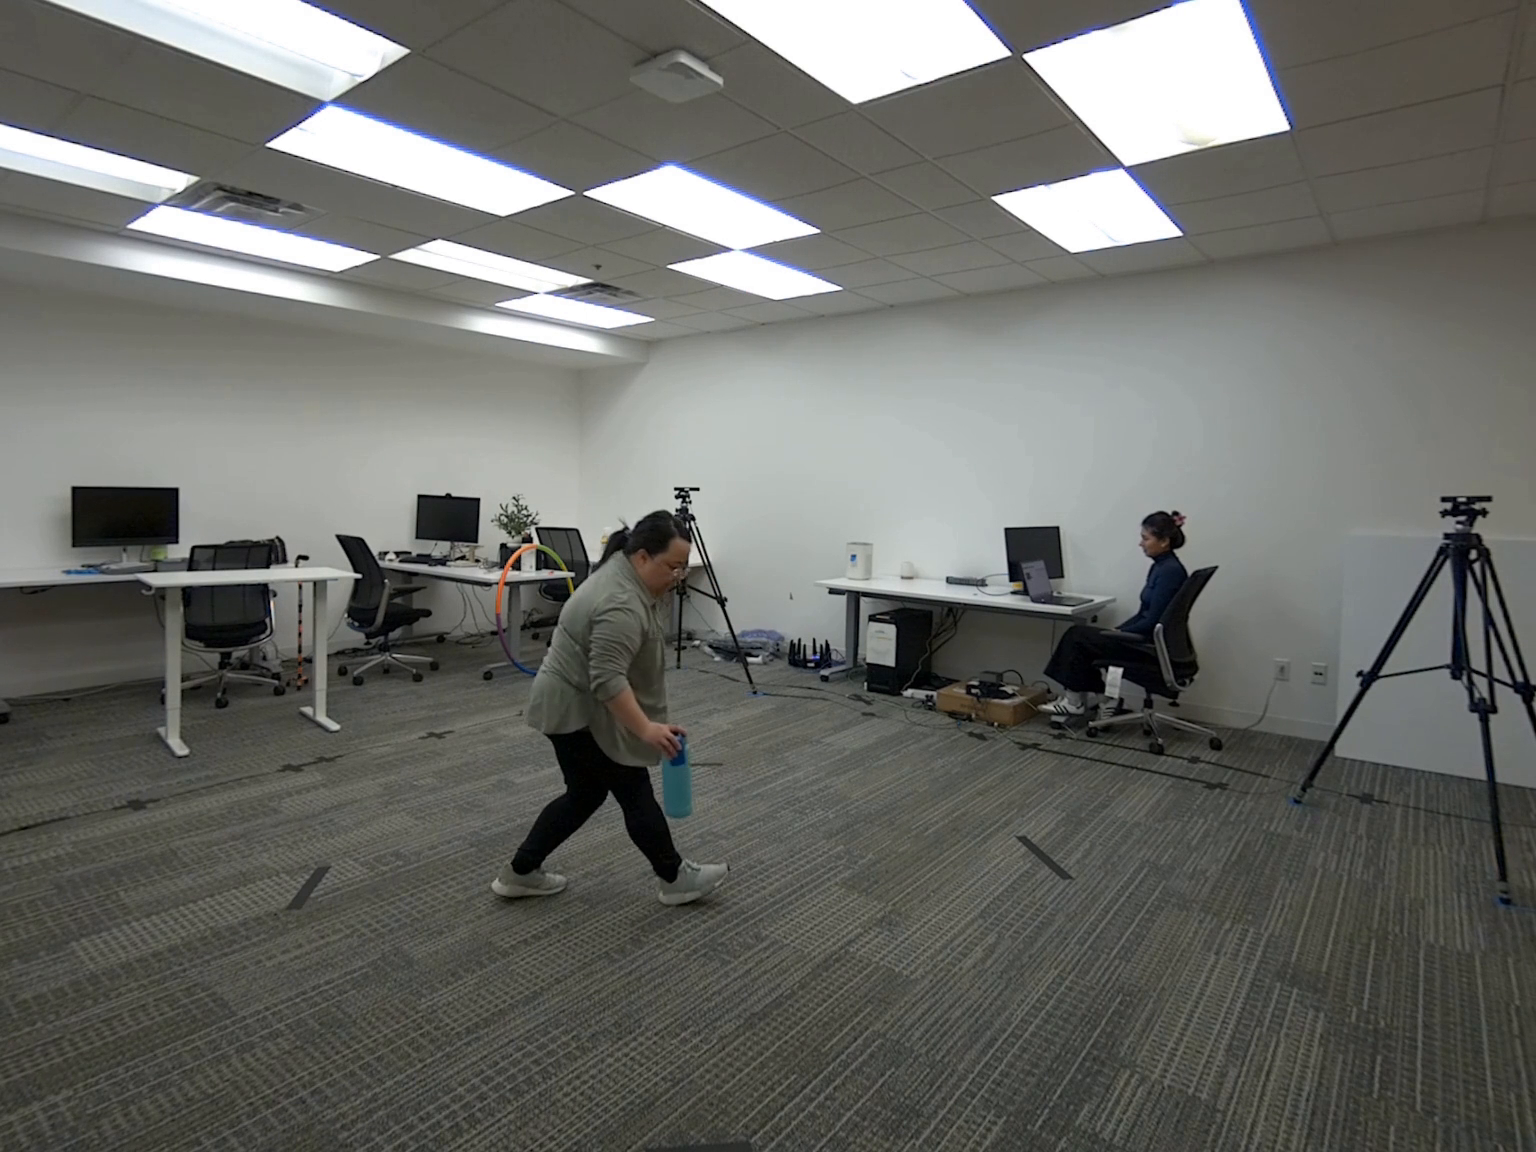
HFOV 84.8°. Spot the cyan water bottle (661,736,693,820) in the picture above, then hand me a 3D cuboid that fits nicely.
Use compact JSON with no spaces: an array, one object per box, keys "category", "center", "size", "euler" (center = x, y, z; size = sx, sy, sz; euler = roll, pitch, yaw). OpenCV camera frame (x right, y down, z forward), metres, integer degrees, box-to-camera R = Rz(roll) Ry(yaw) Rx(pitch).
[{"category":"cyan water bottle","center":[-0.303,0.609,2.652],"size":[0.092,0.281,0.093],"euler":[-1,9,-2]}]
